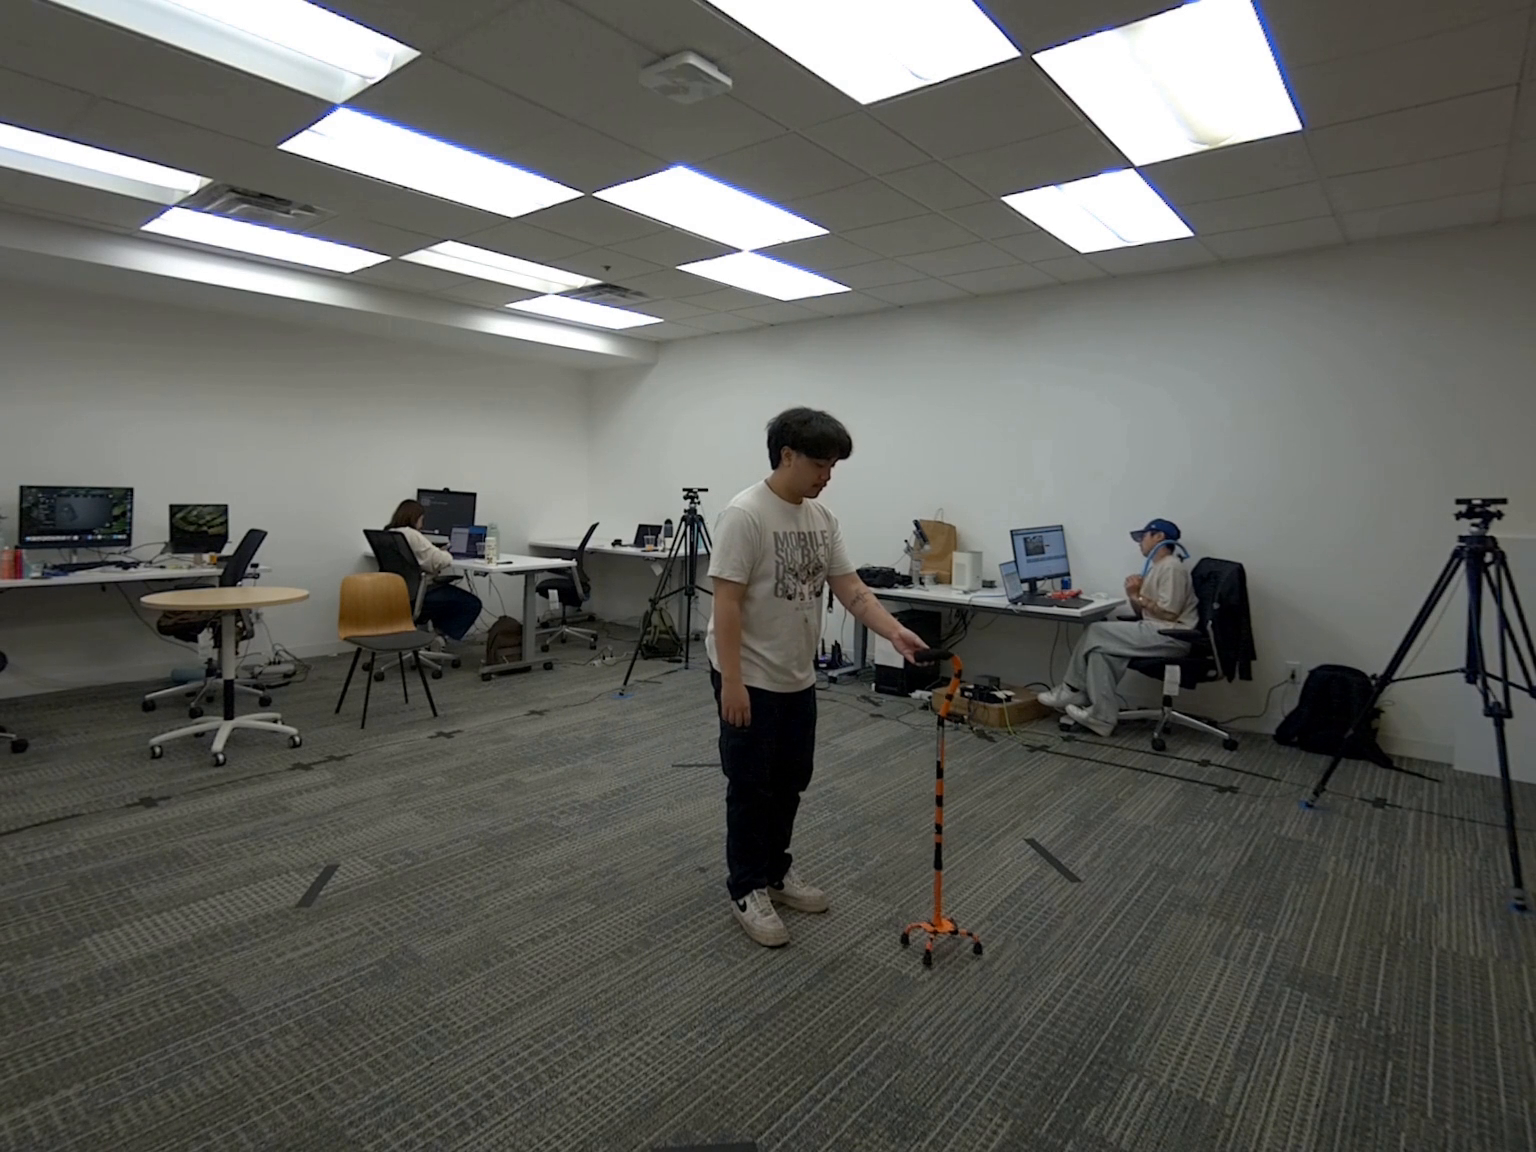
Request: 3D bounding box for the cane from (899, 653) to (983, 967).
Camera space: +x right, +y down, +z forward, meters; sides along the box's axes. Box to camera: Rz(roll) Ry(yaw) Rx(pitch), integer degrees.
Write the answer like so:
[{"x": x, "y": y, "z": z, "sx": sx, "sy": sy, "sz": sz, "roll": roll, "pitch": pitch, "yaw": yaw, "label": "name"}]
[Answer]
[{"x": 0.521, "y": 0.674, "z": 2.558, "sx": 0.202, "sy": 0.905, "sz": 0.155, "roll": -1, "pitch": 4, "yaw": -24, "label": "cane"}]
